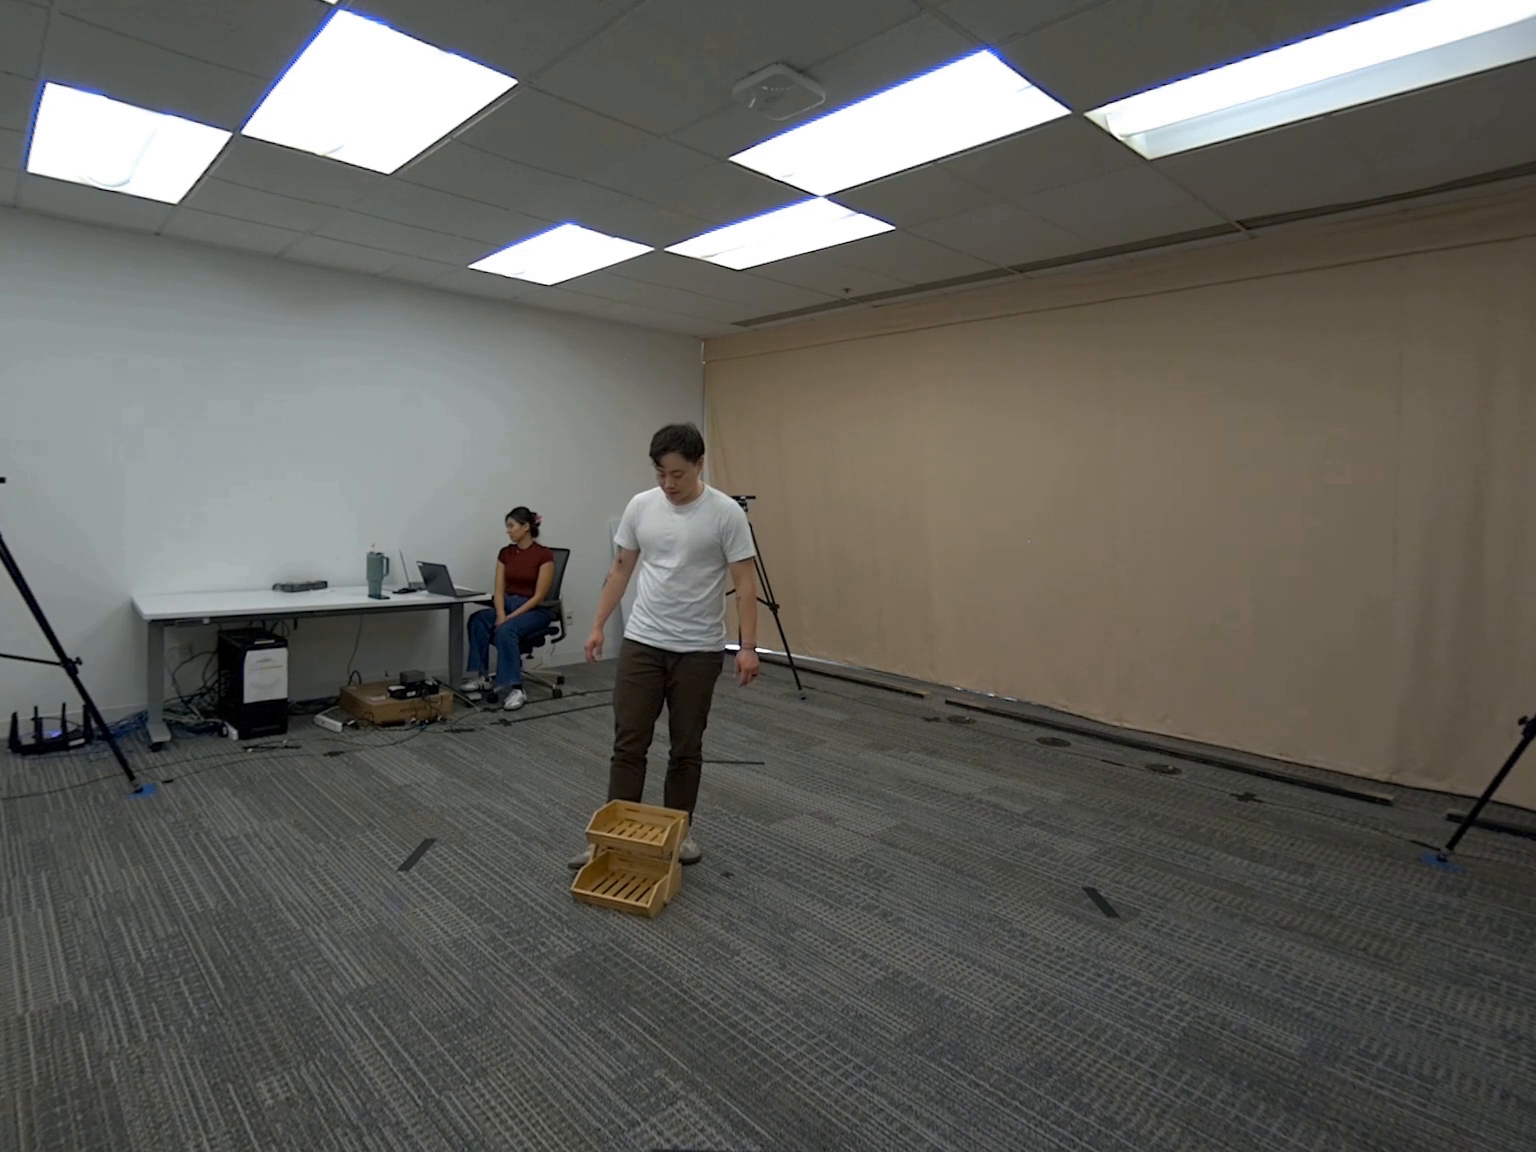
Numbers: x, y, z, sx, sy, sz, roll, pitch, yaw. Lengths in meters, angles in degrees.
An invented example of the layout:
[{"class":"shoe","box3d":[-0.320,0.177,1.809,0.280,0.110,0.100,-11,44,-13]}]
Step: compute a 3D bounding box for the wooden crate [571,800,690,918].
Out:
[{"class":"wooden crate","box3d":[-0.496,0.982,2.940,0.330,0.273,0.298,3,4,20]}]
